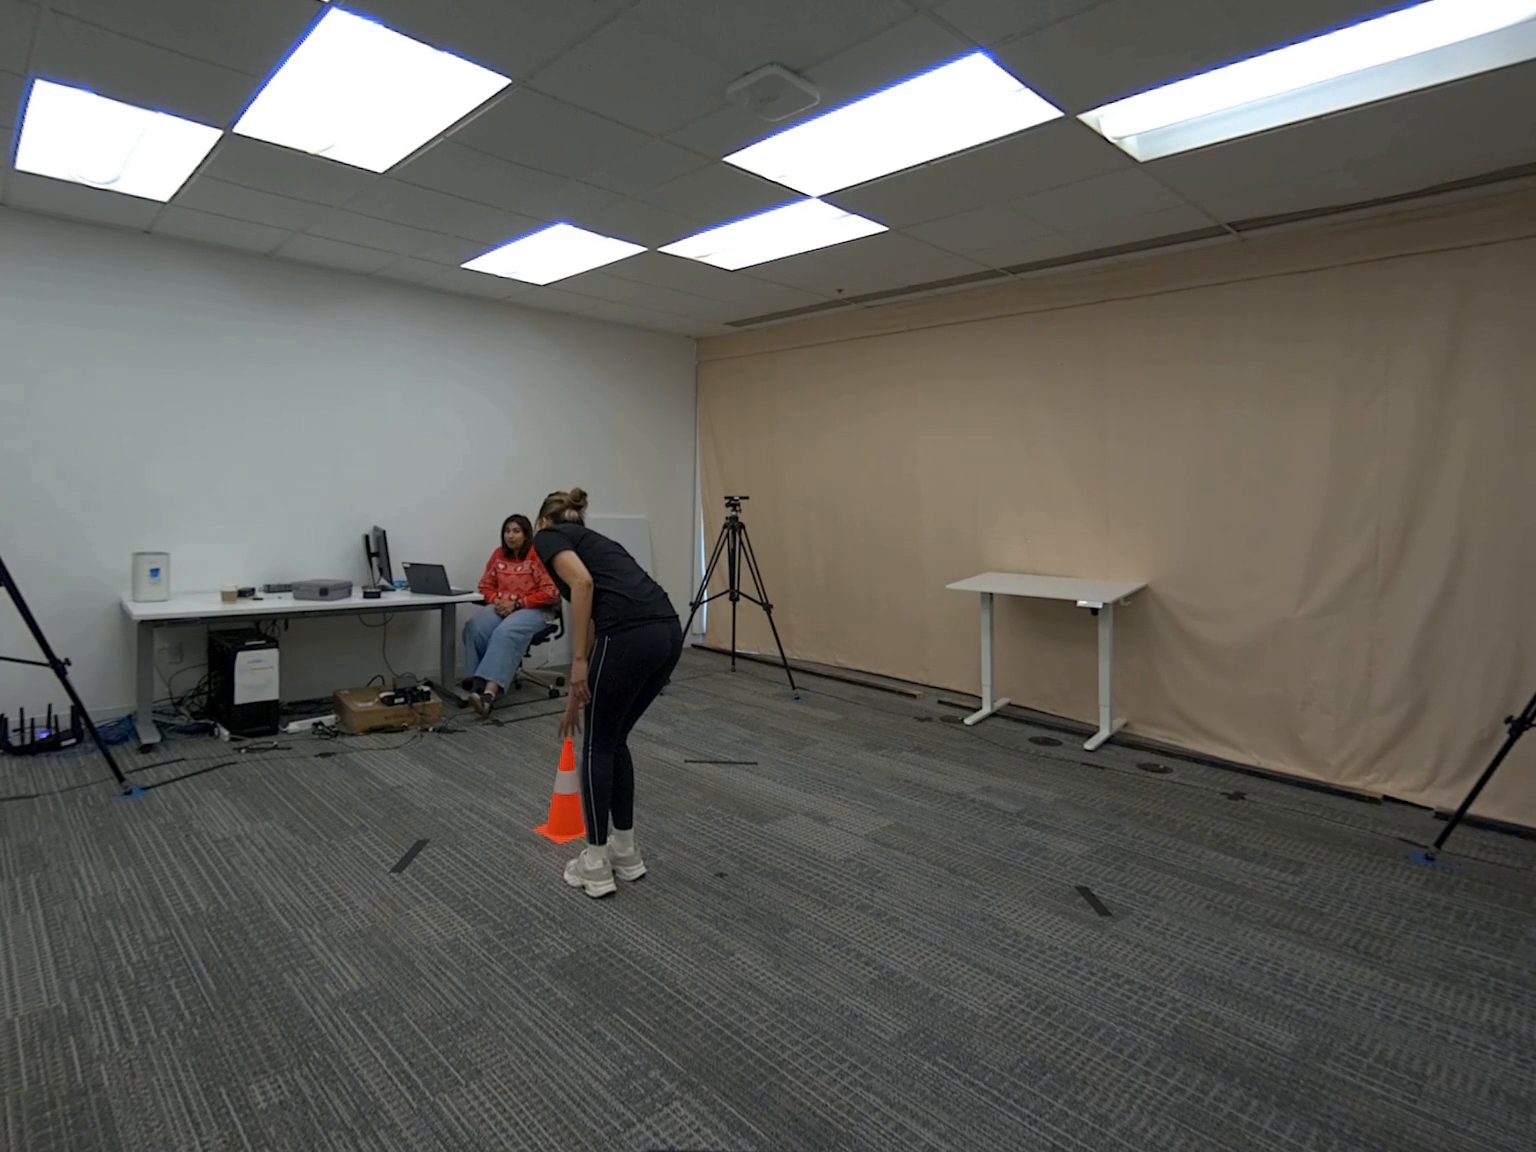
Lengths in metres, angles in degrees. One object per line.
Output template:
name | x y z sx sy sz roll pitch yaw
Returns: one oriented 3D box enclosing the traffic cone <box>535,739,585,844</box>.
traffic cone | -0.840 0.868 3.475 0.210 0.382 0.199 6 6 44
